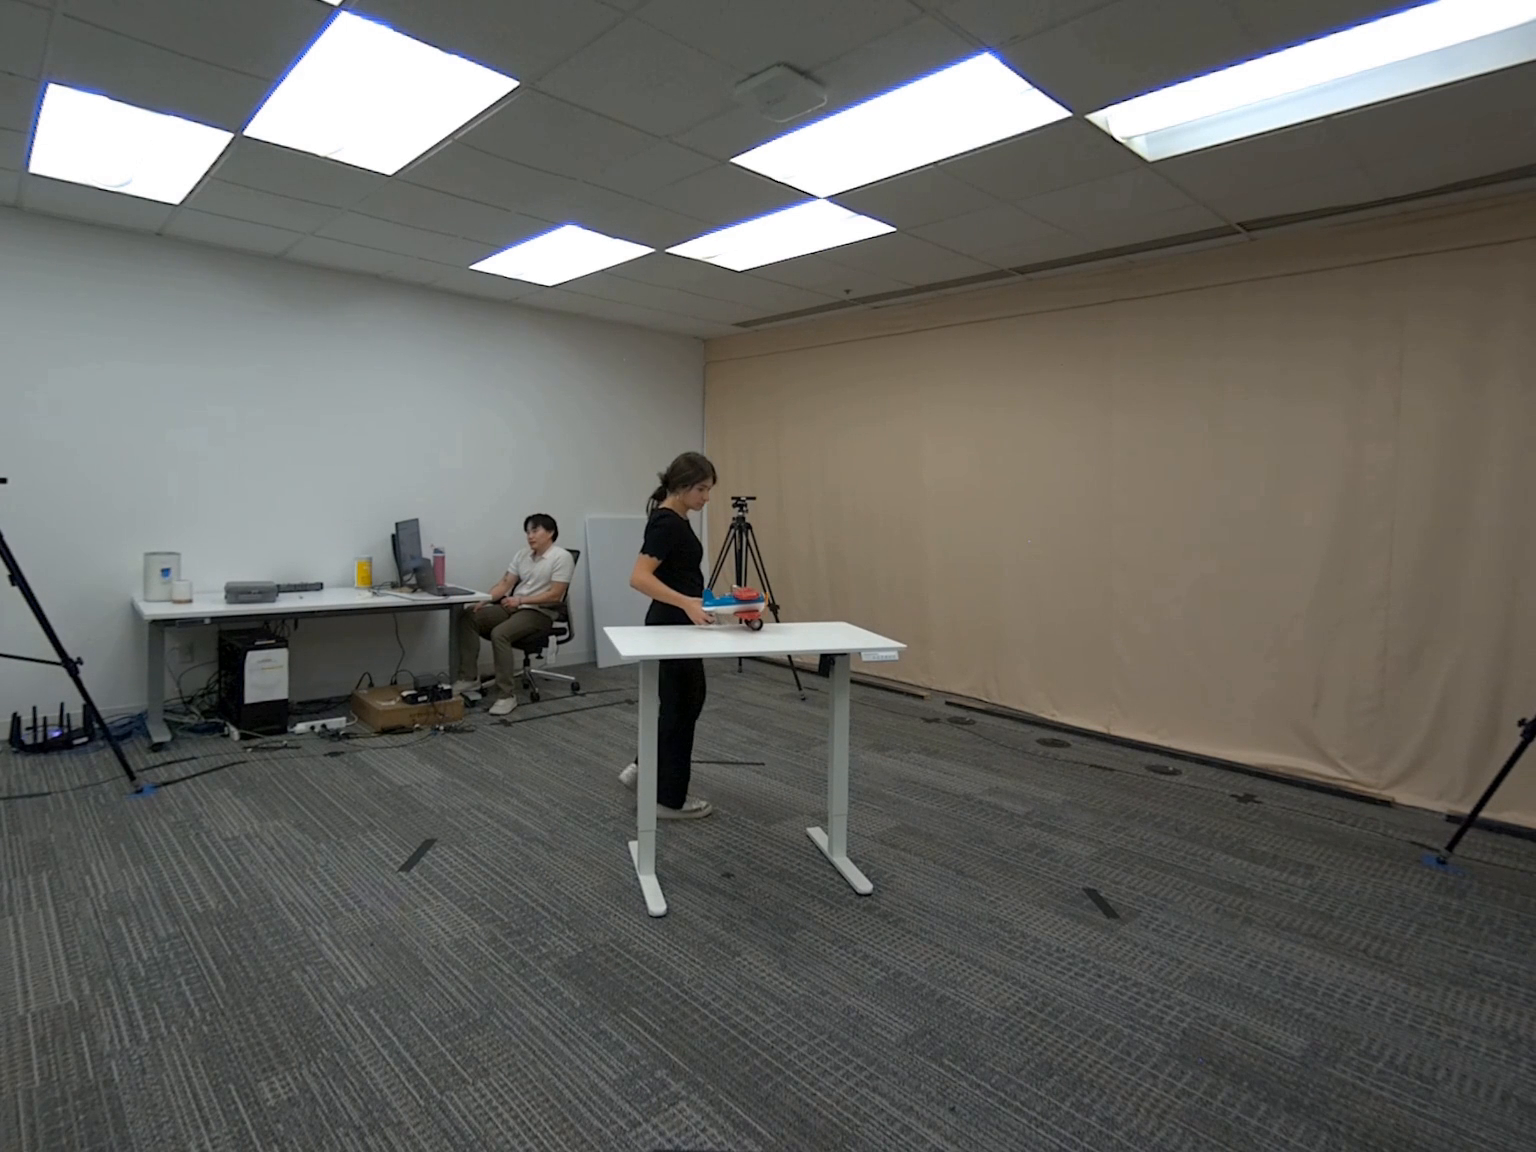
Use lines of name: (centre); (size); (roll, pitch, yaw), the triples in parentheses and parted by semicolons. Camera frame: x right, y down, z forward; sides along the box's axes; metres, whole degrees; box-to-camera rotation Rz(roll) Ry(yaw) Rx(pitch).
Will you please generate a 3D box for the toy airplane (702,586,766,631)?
toy airplane: (-0.133, 0.120, 3.253); (0.252, 0.156, 0.258); (8, 3, -39)
